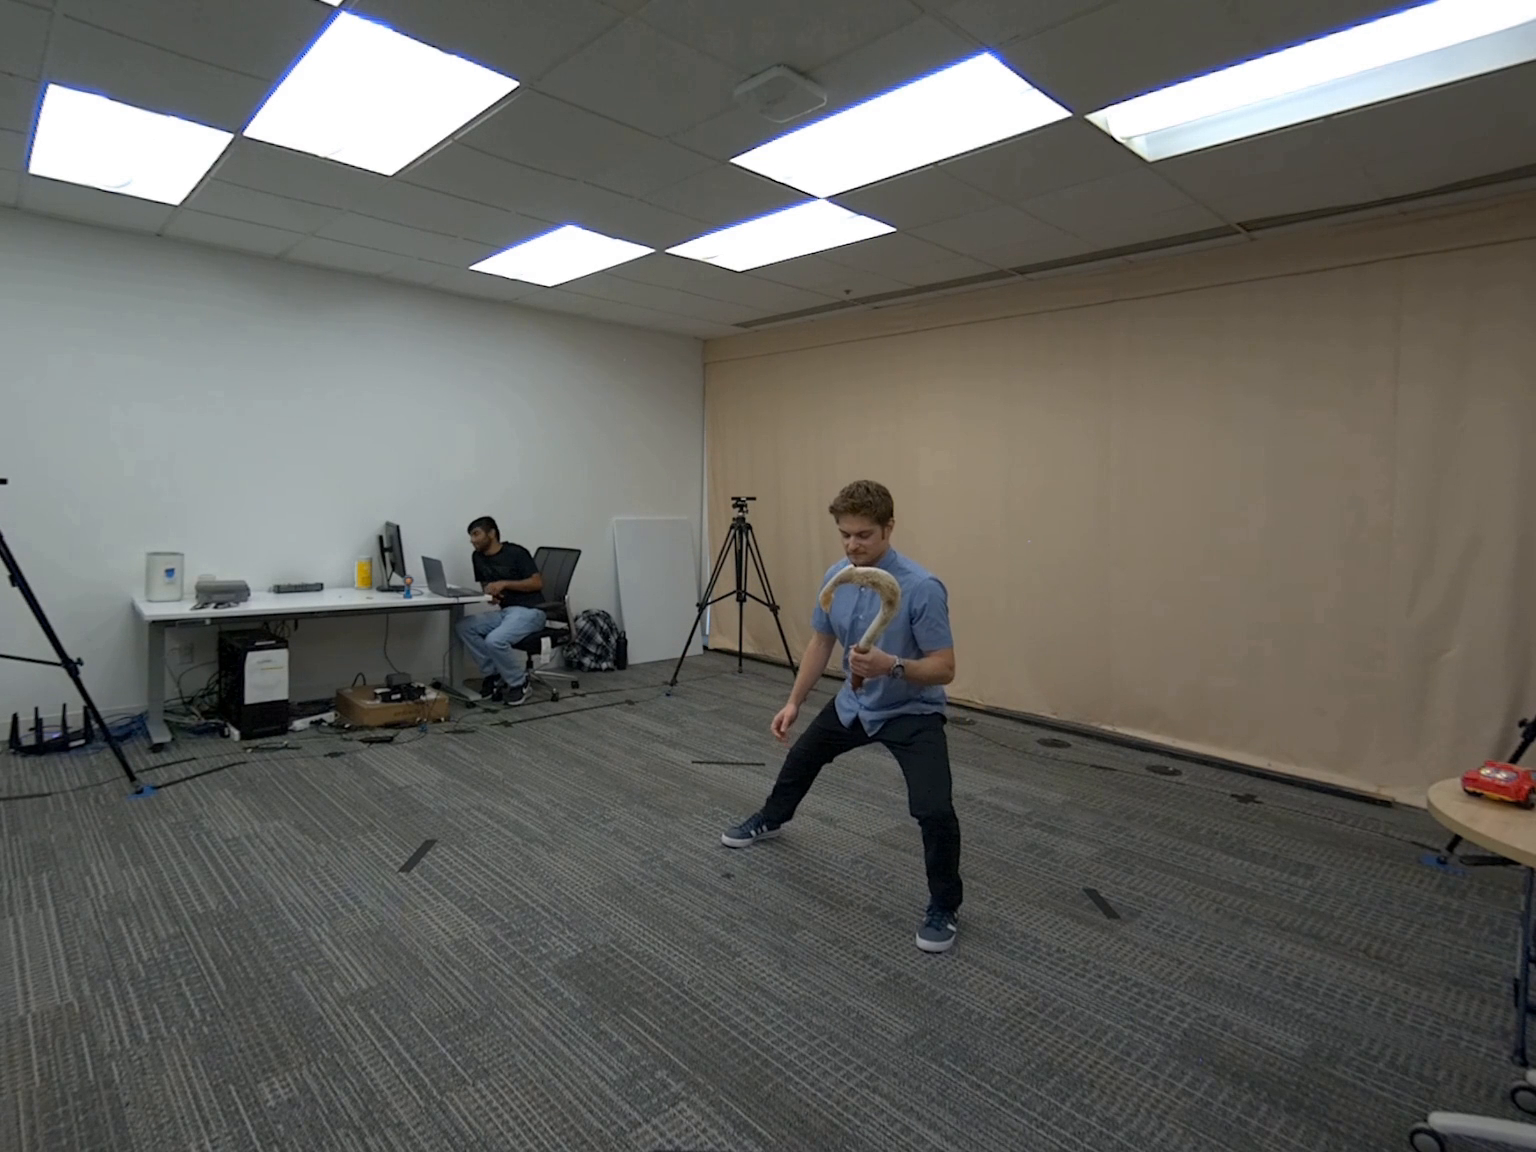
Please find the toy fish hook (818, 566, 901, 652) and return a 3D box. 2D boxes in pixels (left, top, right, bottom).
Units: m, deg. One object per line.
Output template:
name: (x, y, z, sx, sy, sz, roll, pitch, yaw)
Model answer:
toy fish hook: (0.234, 0.161, 2.499, 0.226, 0.497, 0.049, 13, 40, 7)
